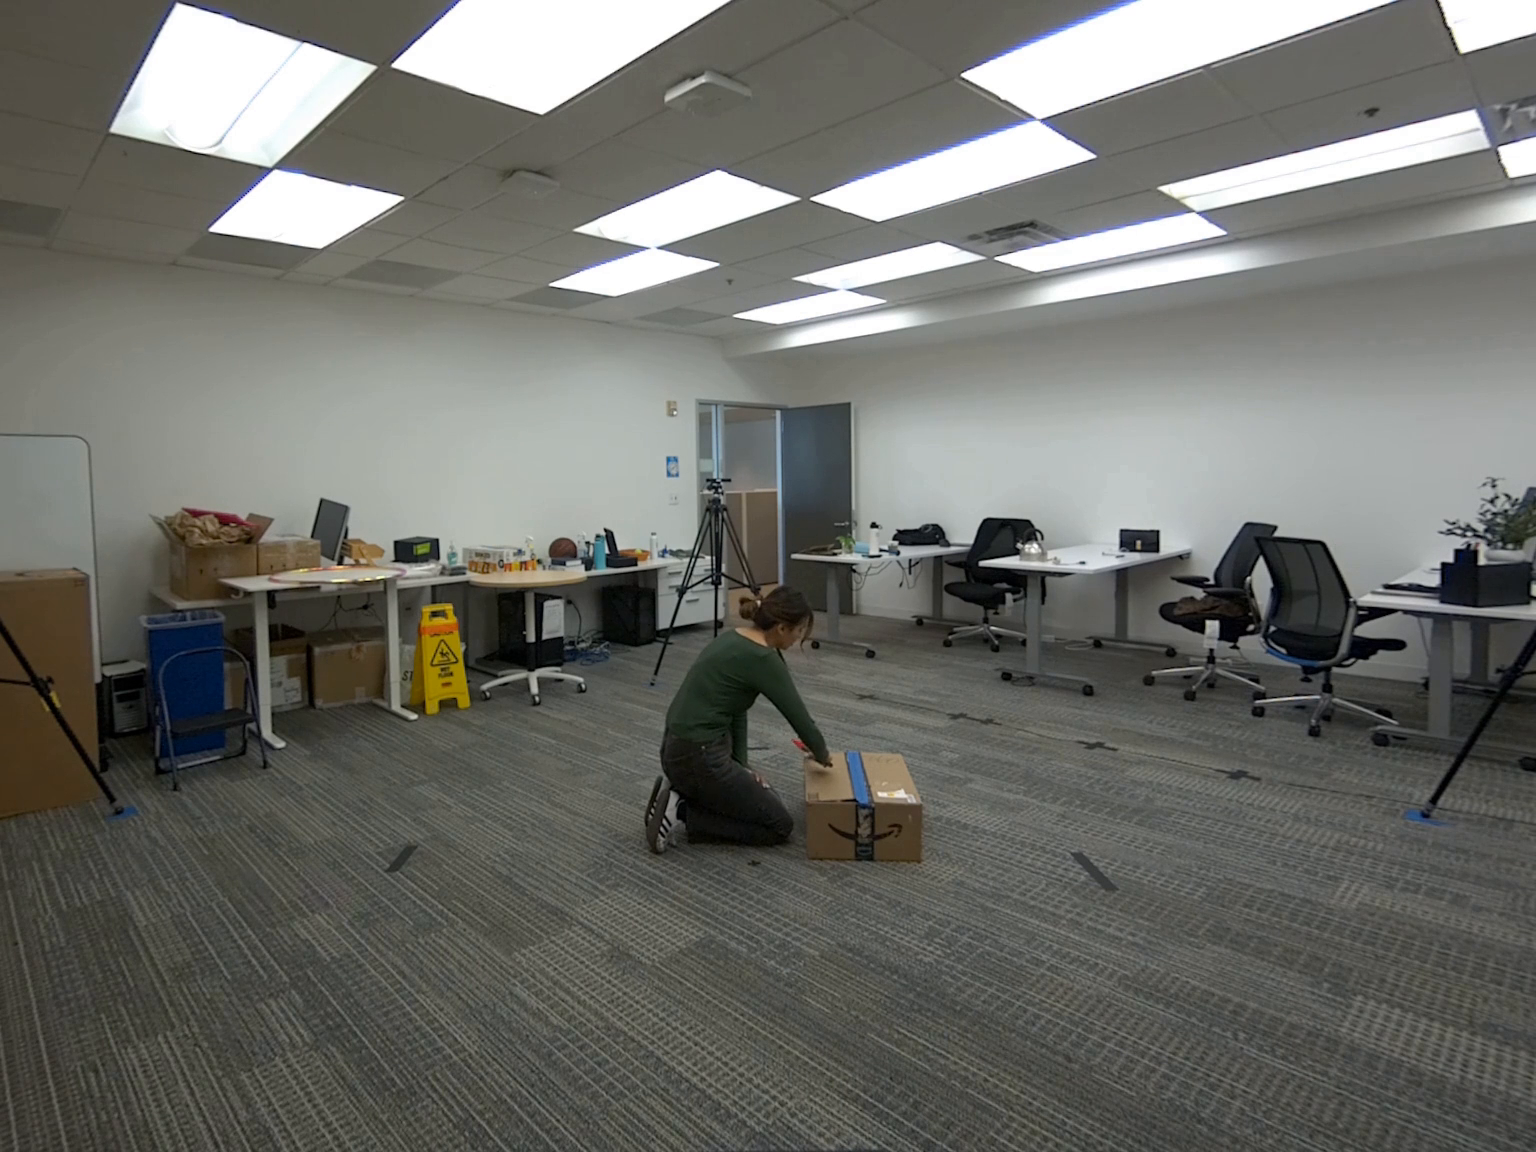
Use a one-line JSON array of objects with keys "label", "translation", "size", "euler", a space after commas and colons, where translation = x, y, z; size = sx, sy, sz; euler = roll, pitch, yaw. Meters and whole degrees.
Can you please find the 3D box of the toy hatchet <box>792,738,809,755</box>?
[{"label": "toy hatchet", "translation": [0.211, 0.746, 3.531], "size": [0.127, 0.029, 0.278], "euler": [35, -5, -29]}]
